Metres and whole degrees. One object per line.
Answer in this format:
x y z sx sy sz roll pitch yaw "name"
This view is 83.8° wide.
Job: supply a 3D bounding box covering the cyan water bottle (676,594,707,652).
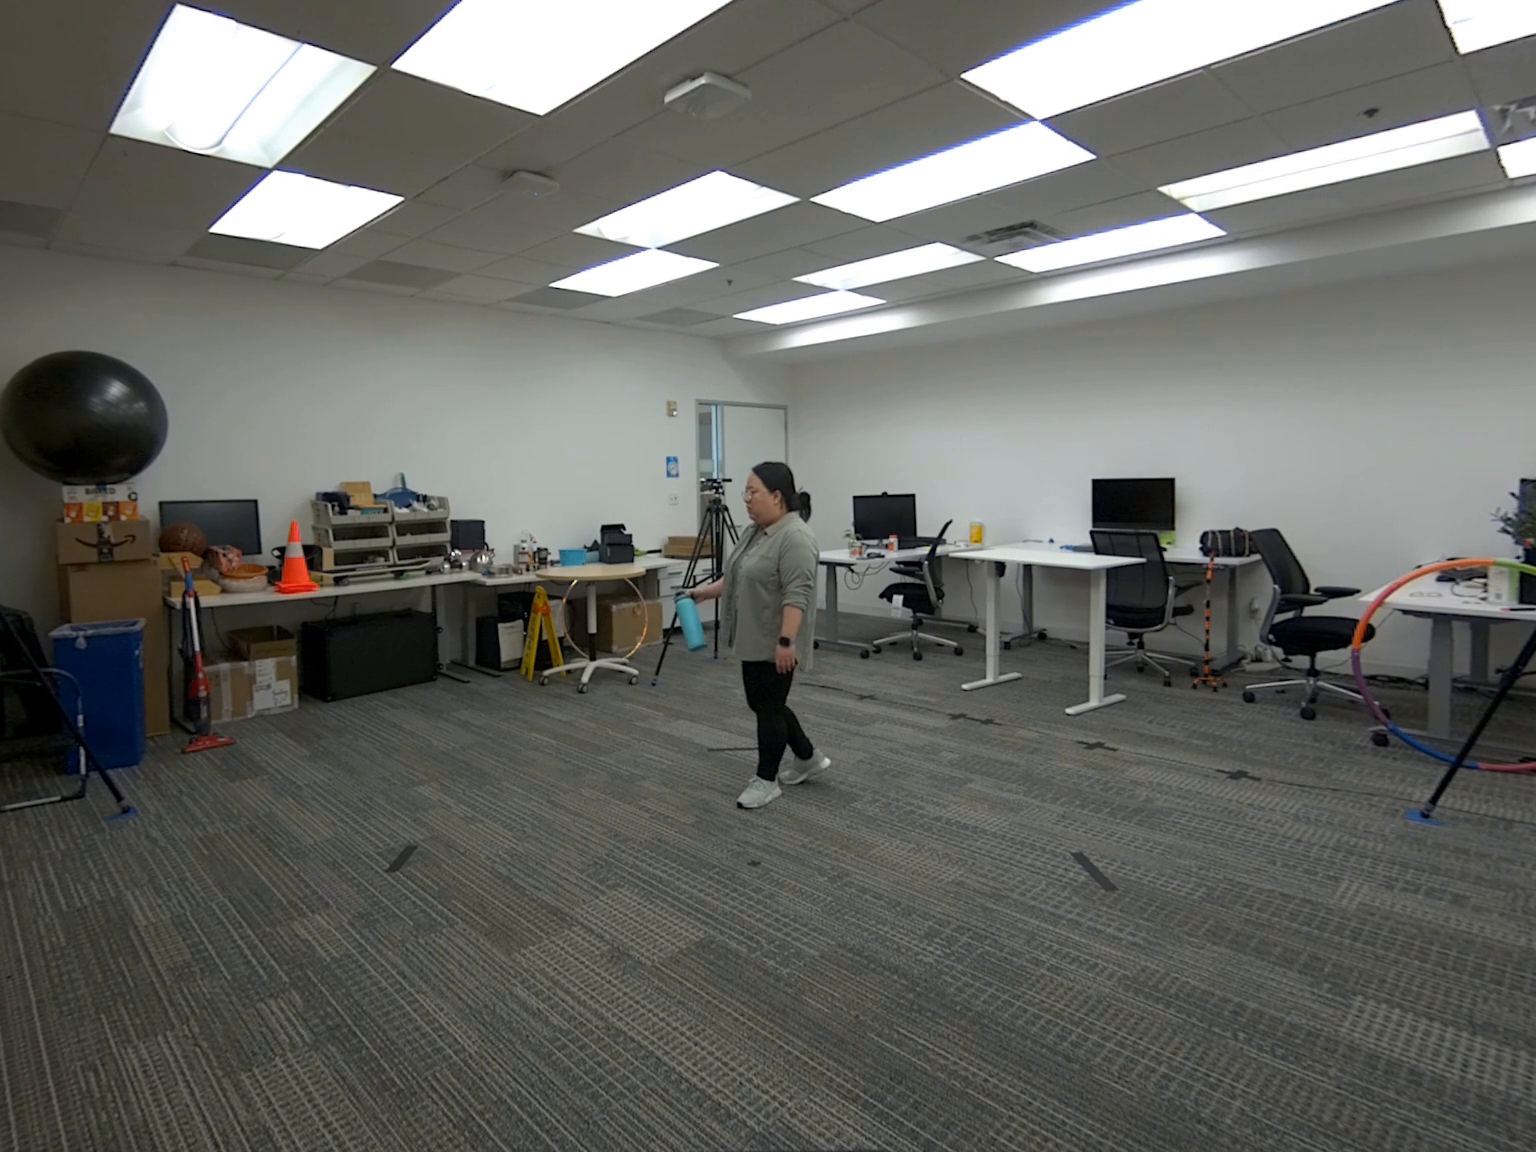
-0.344 0.195 3.835 0.092 0.291 0.090 -16 -23 -8 "cyan water bottle"
